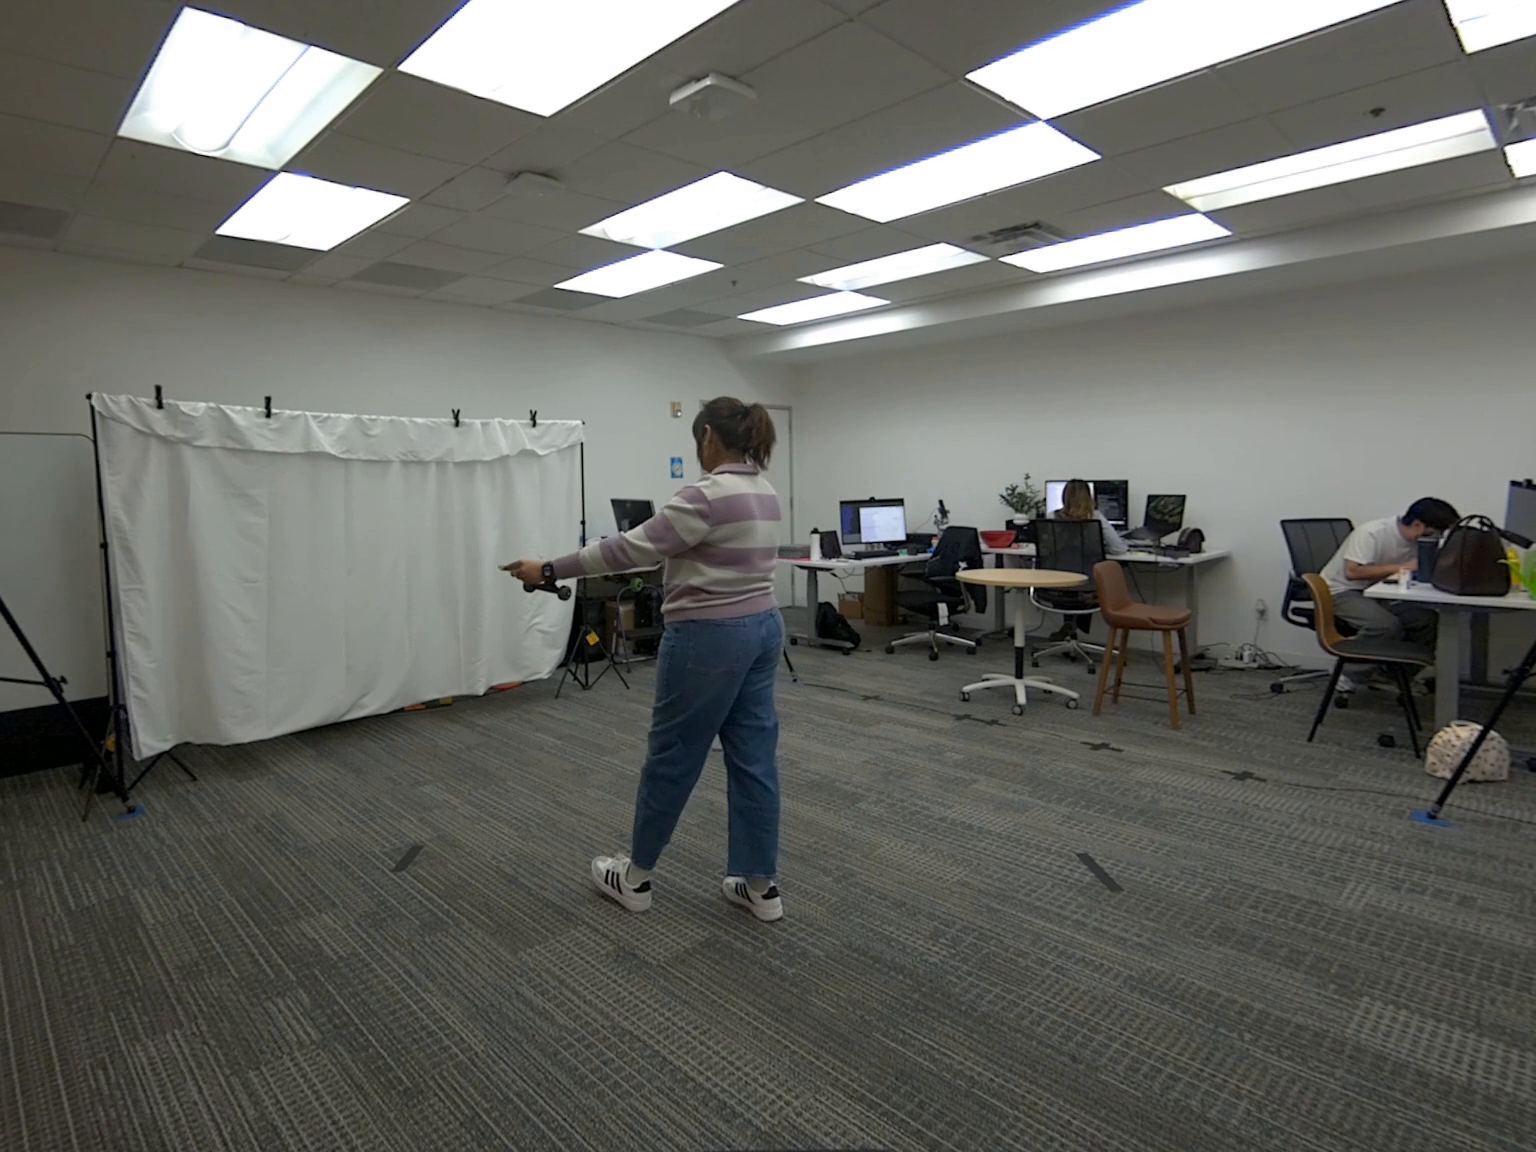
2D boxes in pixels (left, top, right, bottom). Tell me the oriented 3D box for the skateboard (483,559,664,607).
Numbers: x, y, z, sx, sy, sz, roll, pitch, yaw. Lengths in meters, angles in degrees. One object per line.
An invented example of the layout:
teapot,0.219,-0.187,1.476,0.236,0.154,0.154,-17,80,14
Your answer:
skateboard,-0.638,0.000,3.007,0.199,0.110,0.768,7,7,27
